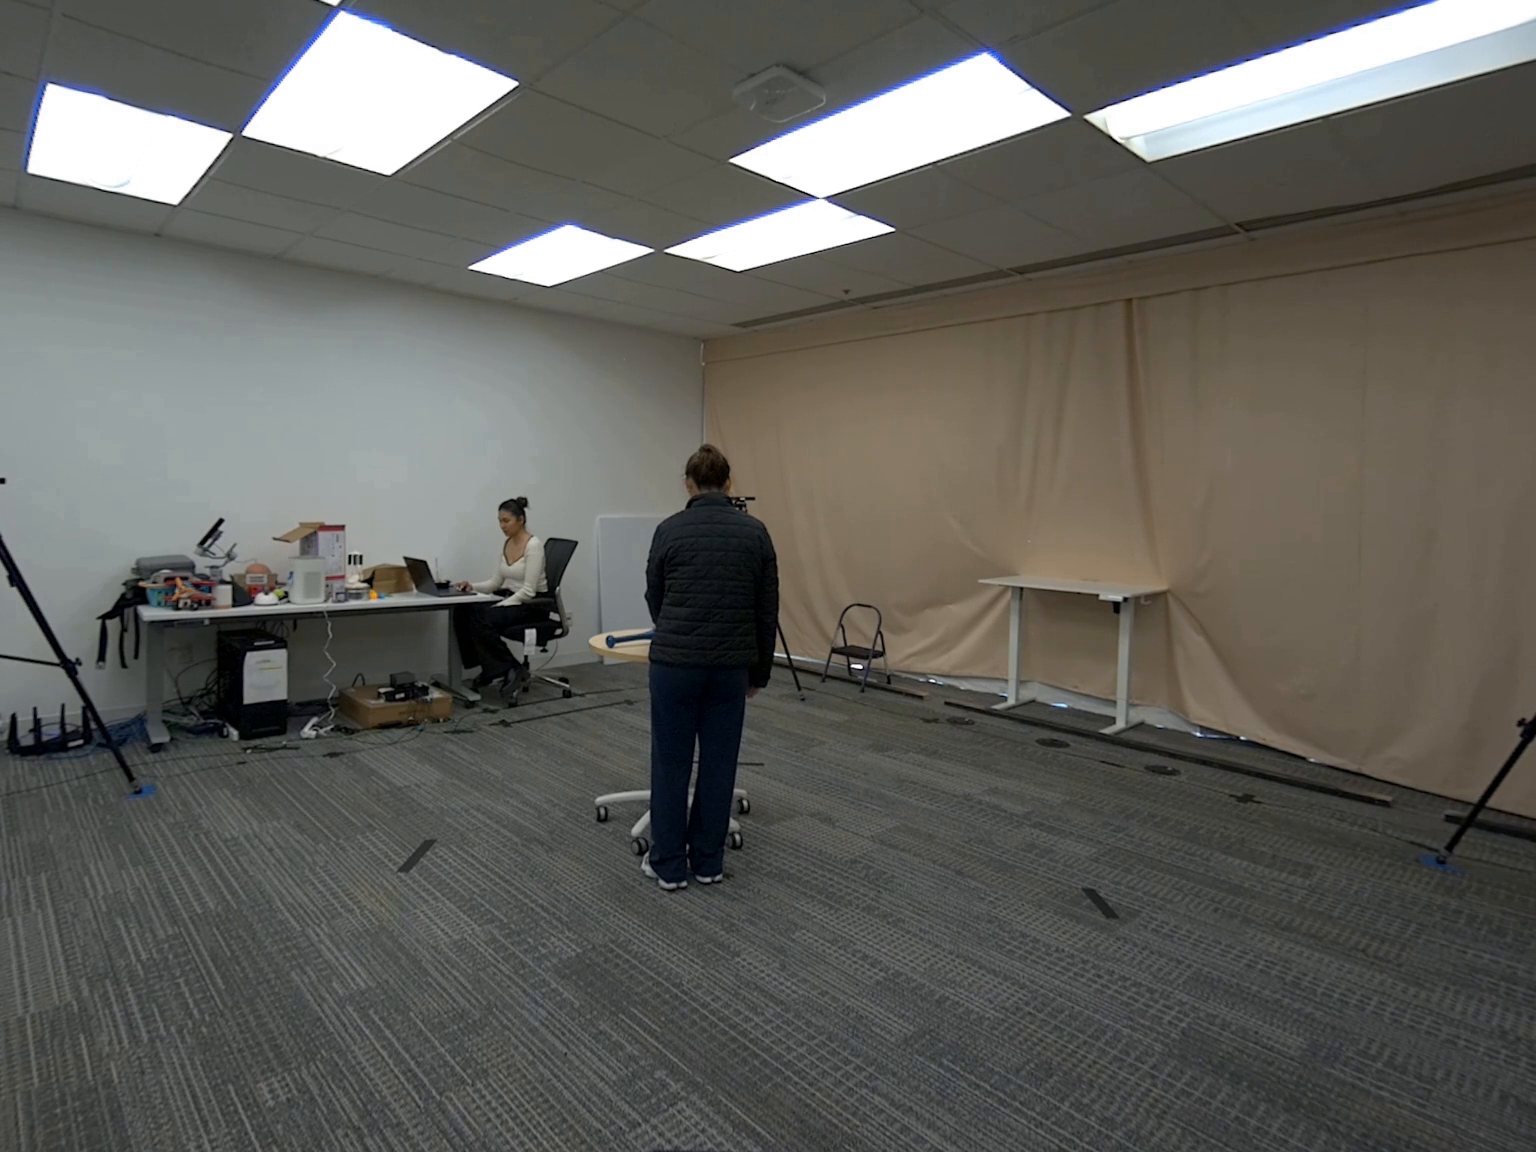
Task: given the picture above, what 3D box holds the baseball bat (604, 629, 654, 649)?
[{"bbox_3d":[-0.434,0.245,3.497,0.531,0.089,0.091,-7,9,-43],"label":"baseball bat"}]
